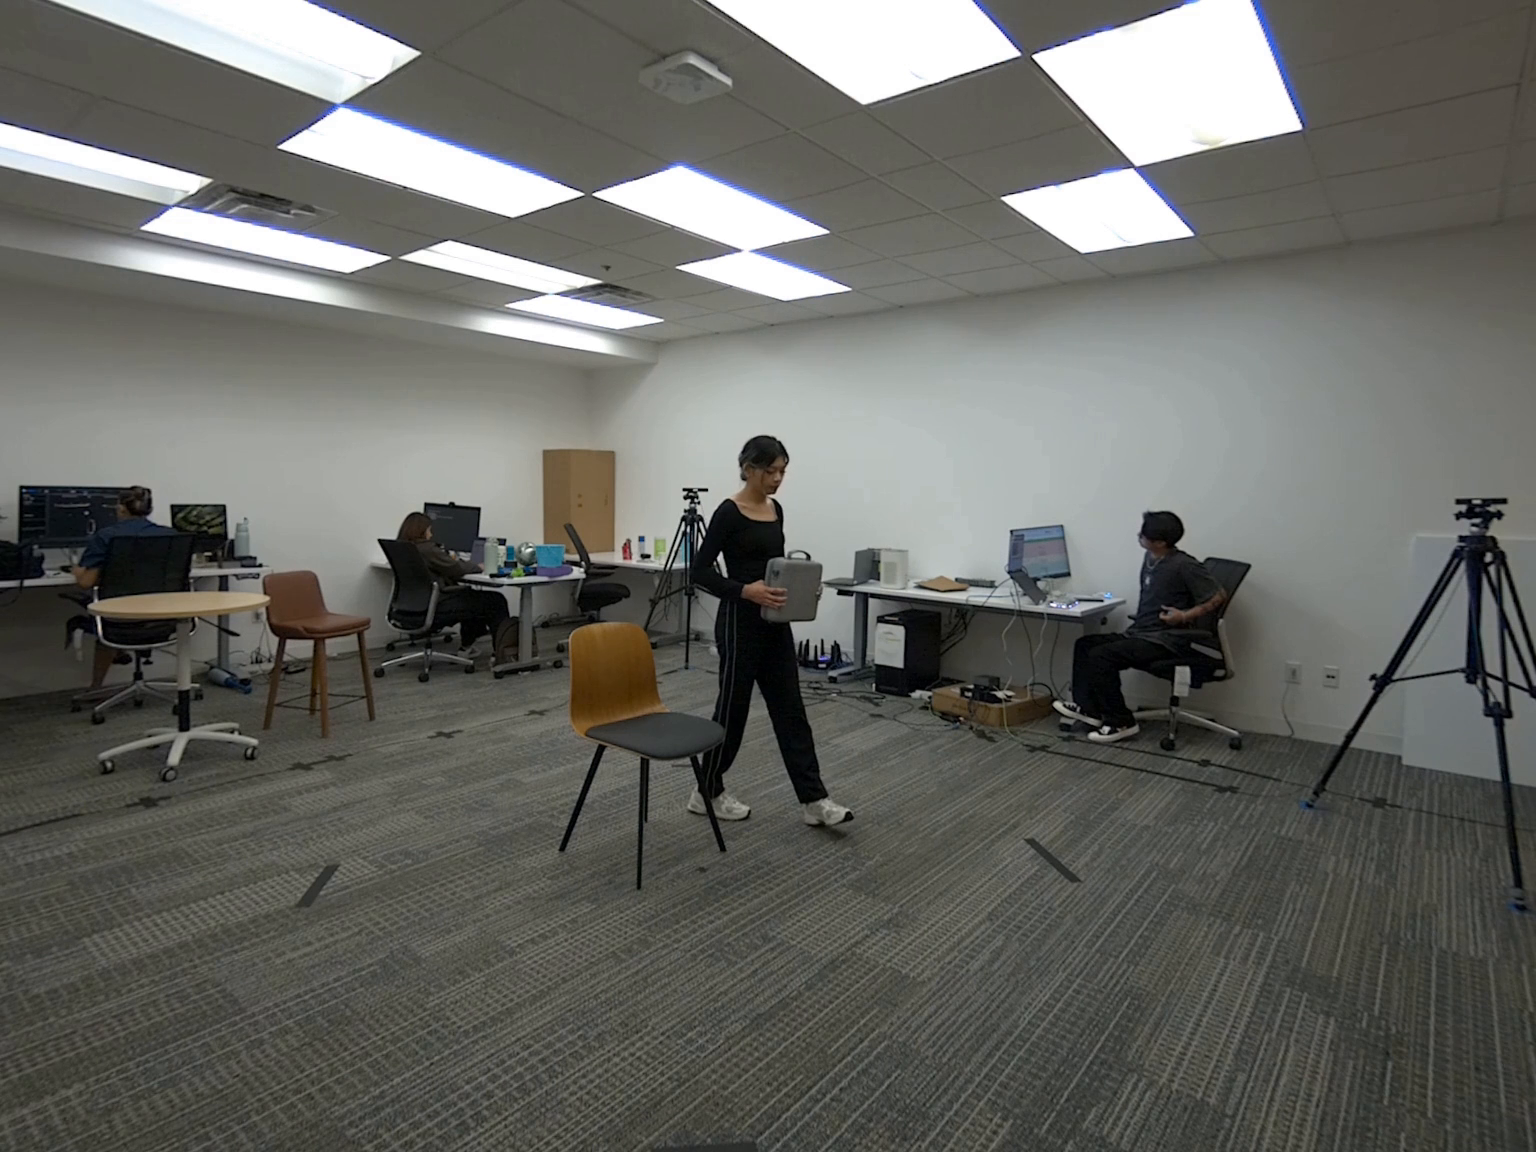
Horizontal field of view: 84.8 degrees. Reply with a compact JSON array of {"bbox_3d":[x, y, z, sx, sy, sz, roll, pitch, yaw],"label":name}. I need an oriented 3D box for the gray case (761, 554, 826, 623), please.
[{"bbox_3d":[0.097,0.047,3.421,0.108,0.259,0.249,11,7,42],"label":"gray case"}]
